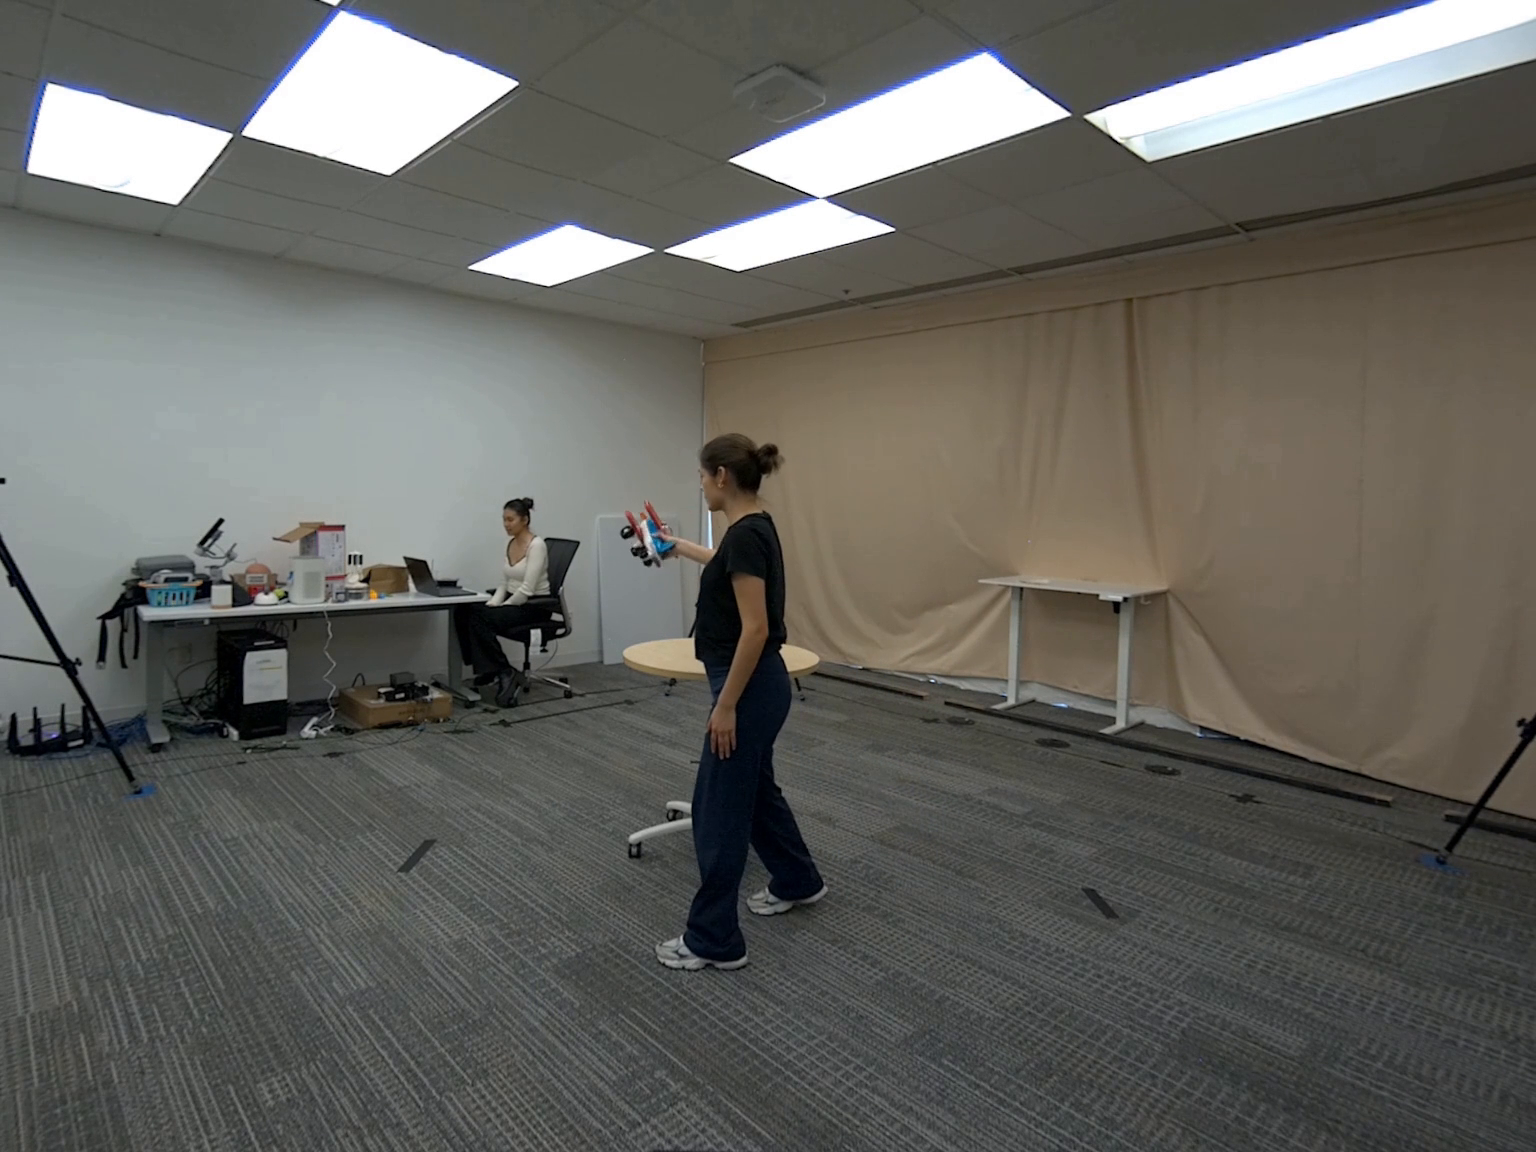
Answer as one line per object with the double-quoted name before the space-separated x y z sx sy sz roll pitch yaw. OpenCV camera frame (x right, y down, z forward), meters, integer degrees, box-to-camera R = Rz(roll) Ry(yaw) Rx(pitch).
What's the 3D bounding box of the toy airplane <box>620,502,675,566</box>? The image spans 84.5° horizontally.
"toy airplane" -0.430 -0.117 3.102 0.156 0.267 0.245 -35 -31 -13
